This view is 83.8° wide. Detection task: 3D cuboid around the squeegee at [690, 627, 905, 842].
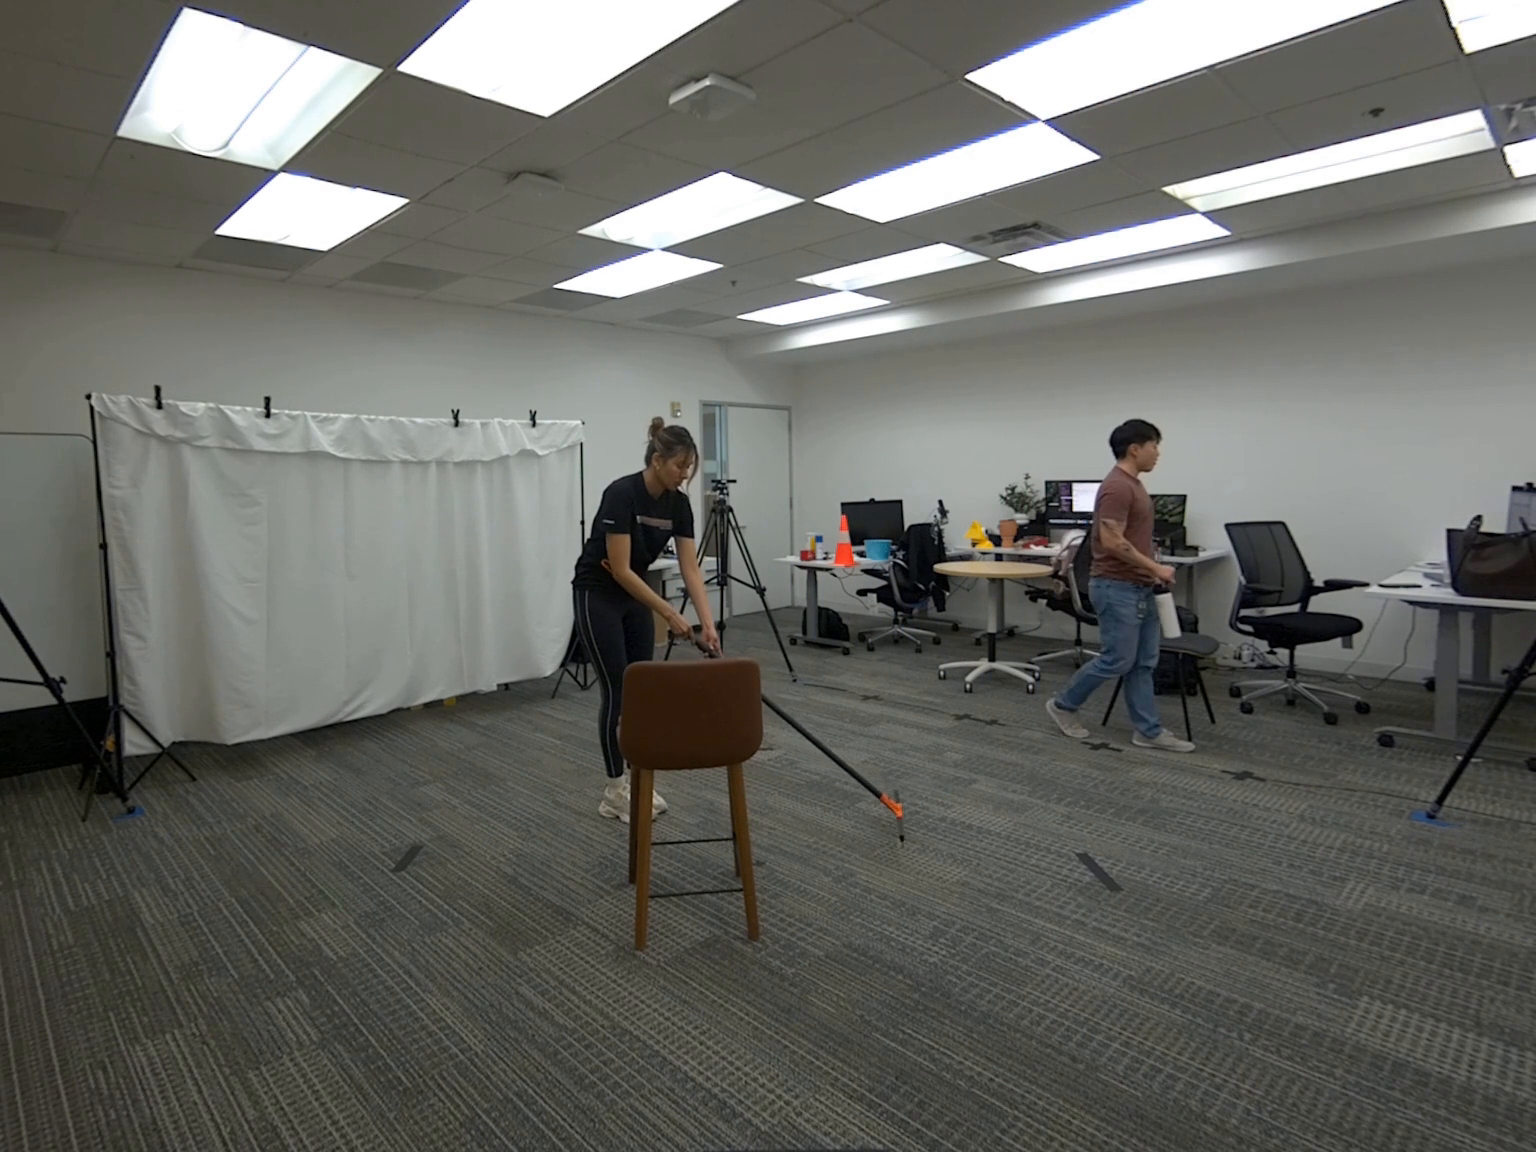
[{"bbox_3d":[-0.037,0.448,3.353,1.548,0.053,0.435,40,9,5],"label":"squeegee"}]
